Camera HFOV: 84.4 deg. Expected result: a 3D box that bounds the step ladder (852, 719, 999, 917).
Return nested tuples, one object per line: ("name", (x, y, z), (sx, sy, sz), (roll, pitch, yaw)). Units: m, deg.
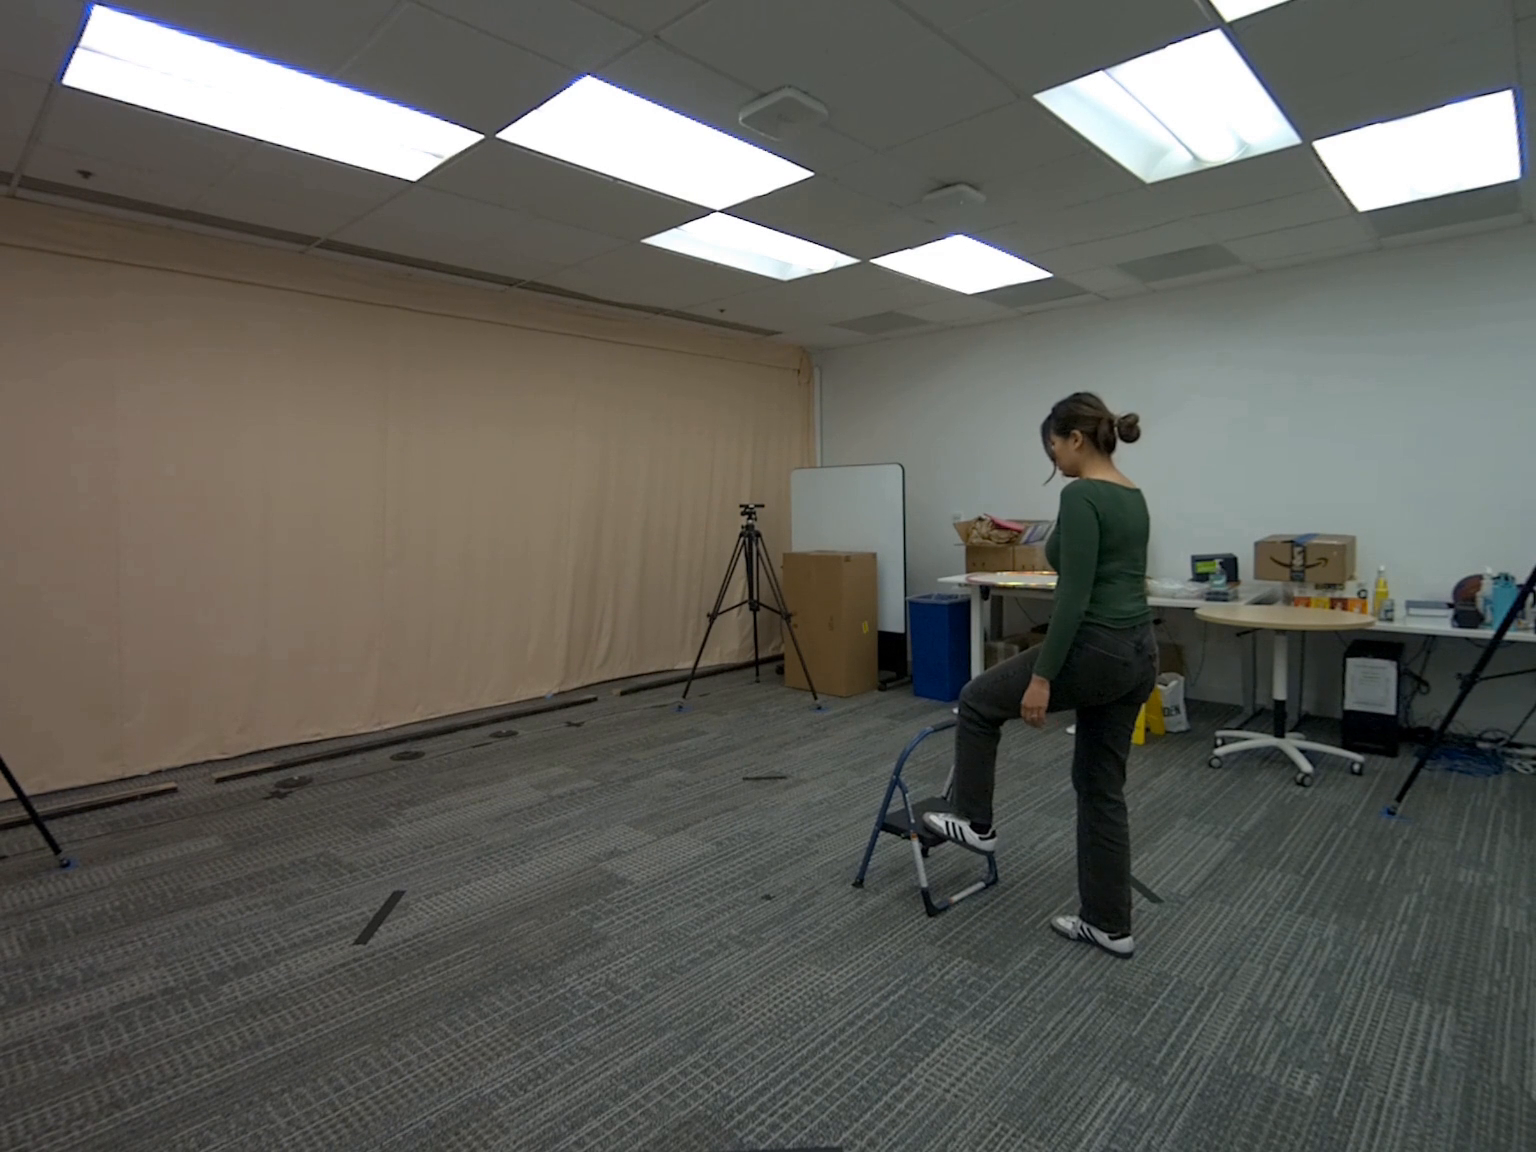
("step ladder", (0.578, 0.819, 3.055), (0.417, 0.605, 0.361), (-4, 5, -43))
